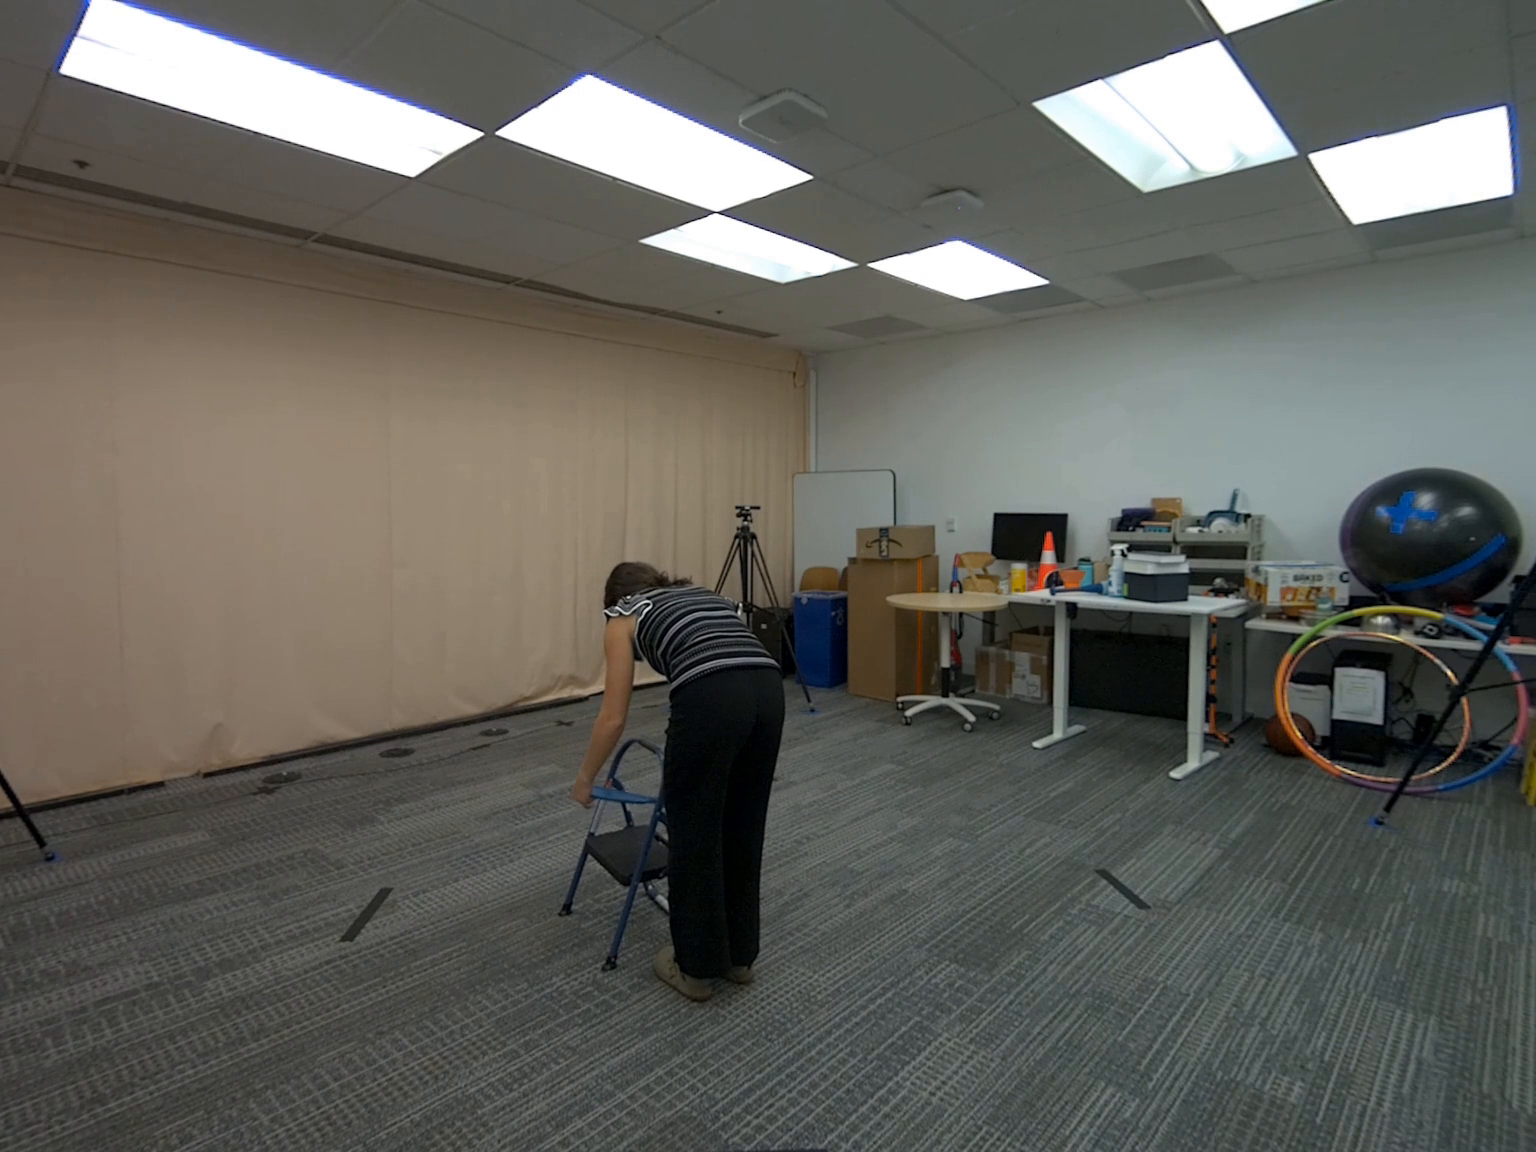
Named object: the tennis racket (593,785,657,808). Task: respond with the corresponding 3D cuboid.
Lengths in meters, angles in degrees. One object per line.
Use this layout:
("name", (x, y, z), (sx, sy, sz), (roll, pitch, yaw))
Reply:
("tennis racket", (-0.440, 0.727, 2.722), (0.421, 0.032, 0.219), (17, -9, -25))
